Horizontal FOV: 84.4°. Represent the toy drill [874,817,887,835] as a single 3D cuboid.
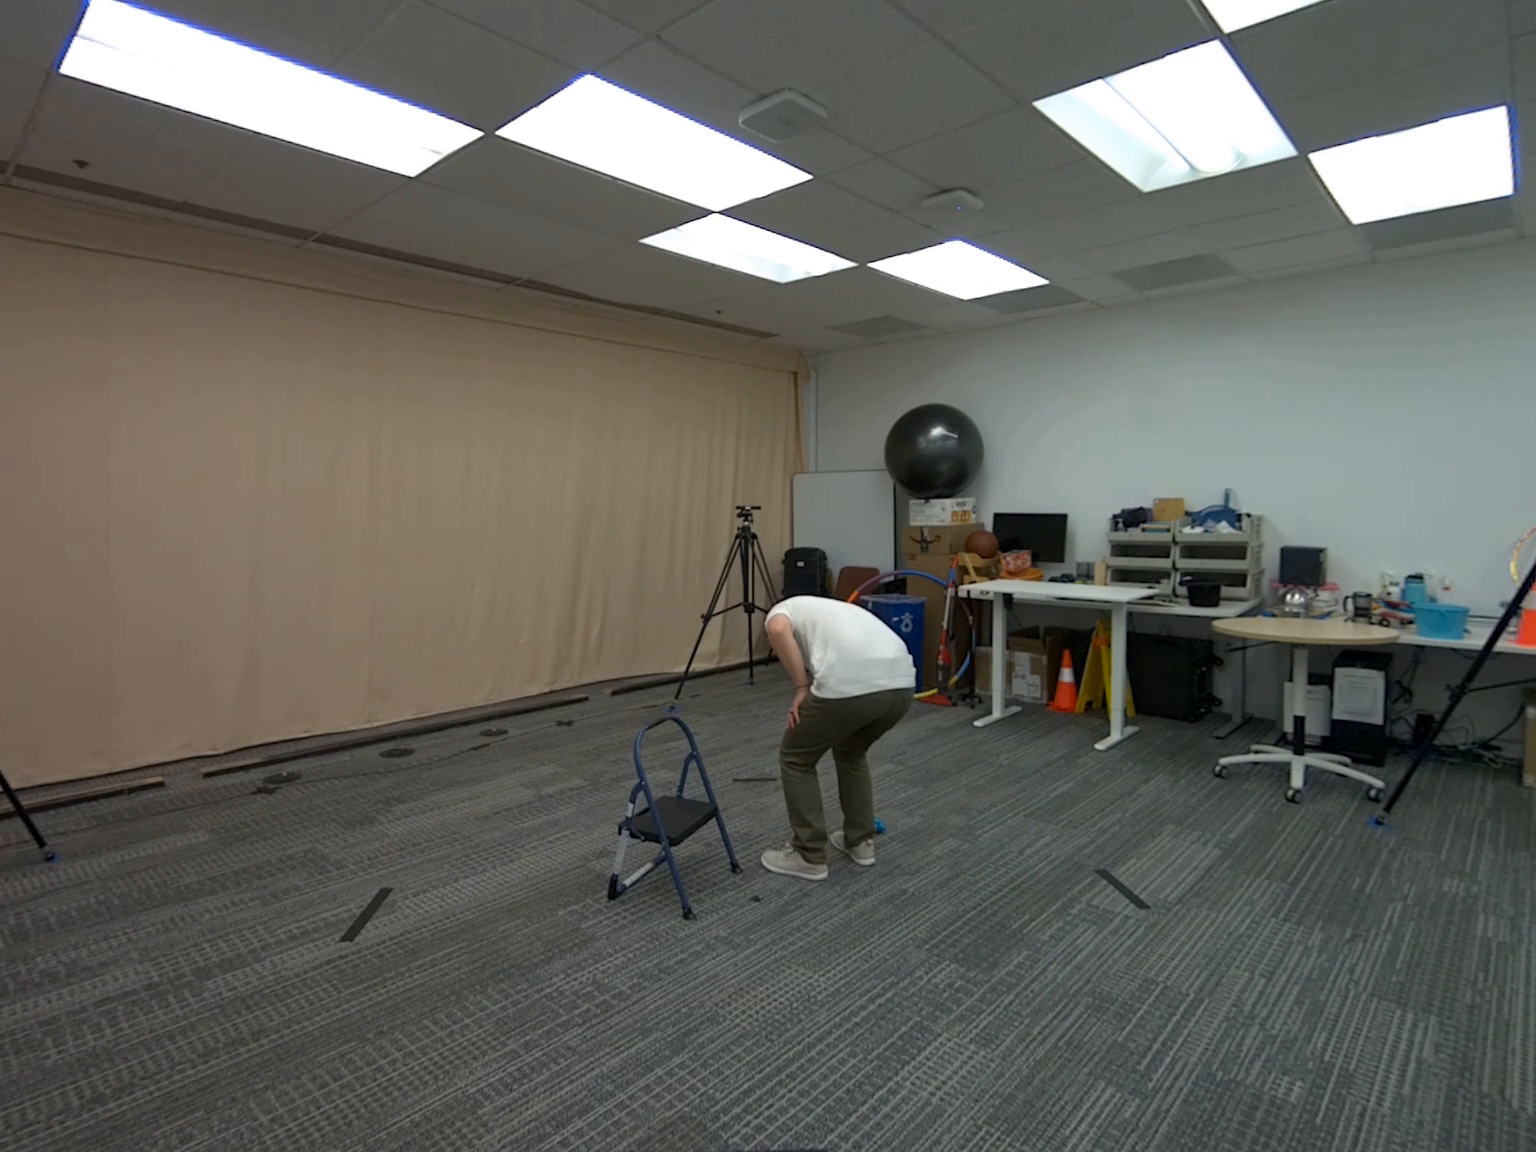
[{"bbox_3d":[0.417,1.062,3.599,0.141,0.061,0.176,-4,12,-41],"label":"toy drill"}]
